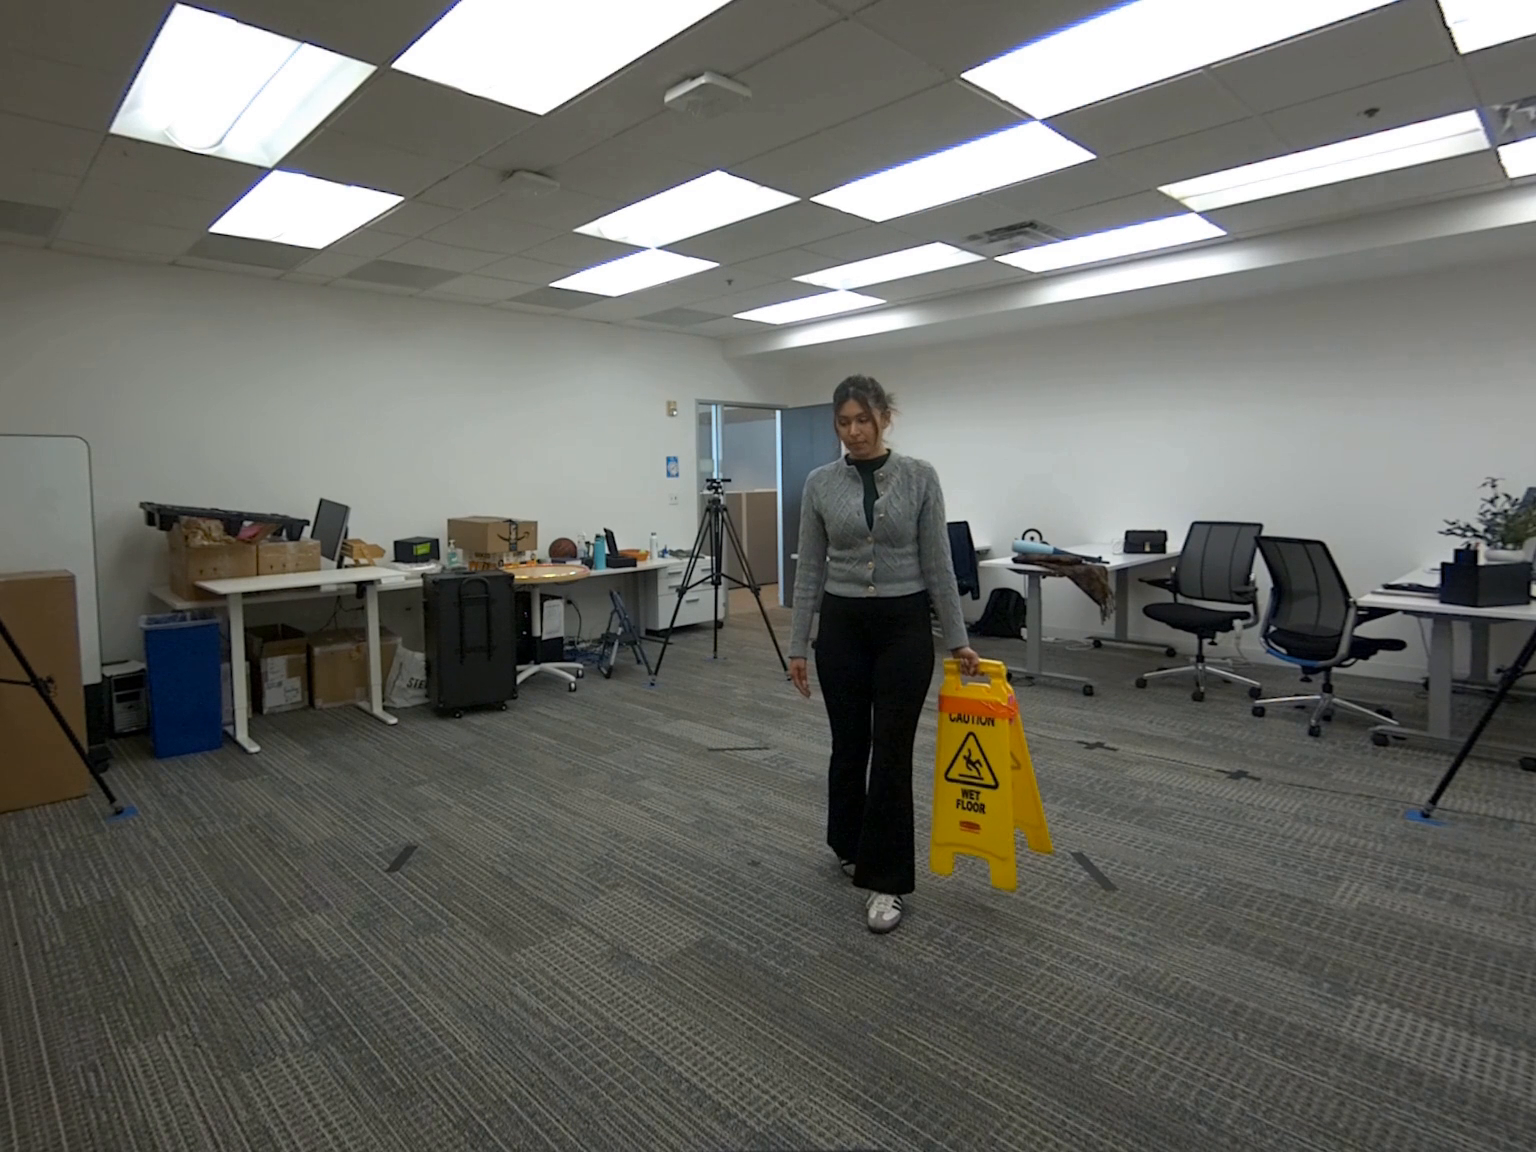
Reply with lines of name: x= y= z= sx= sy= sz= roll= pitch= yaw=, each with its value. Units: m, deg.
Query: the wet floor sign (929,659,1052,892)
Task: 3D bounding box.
wet floor sign: x=0.671 y=0.580 z=2.658 sx=0.290 sy=0.644 sz=0.283 roll=-4 pitch=4 yaw=41
